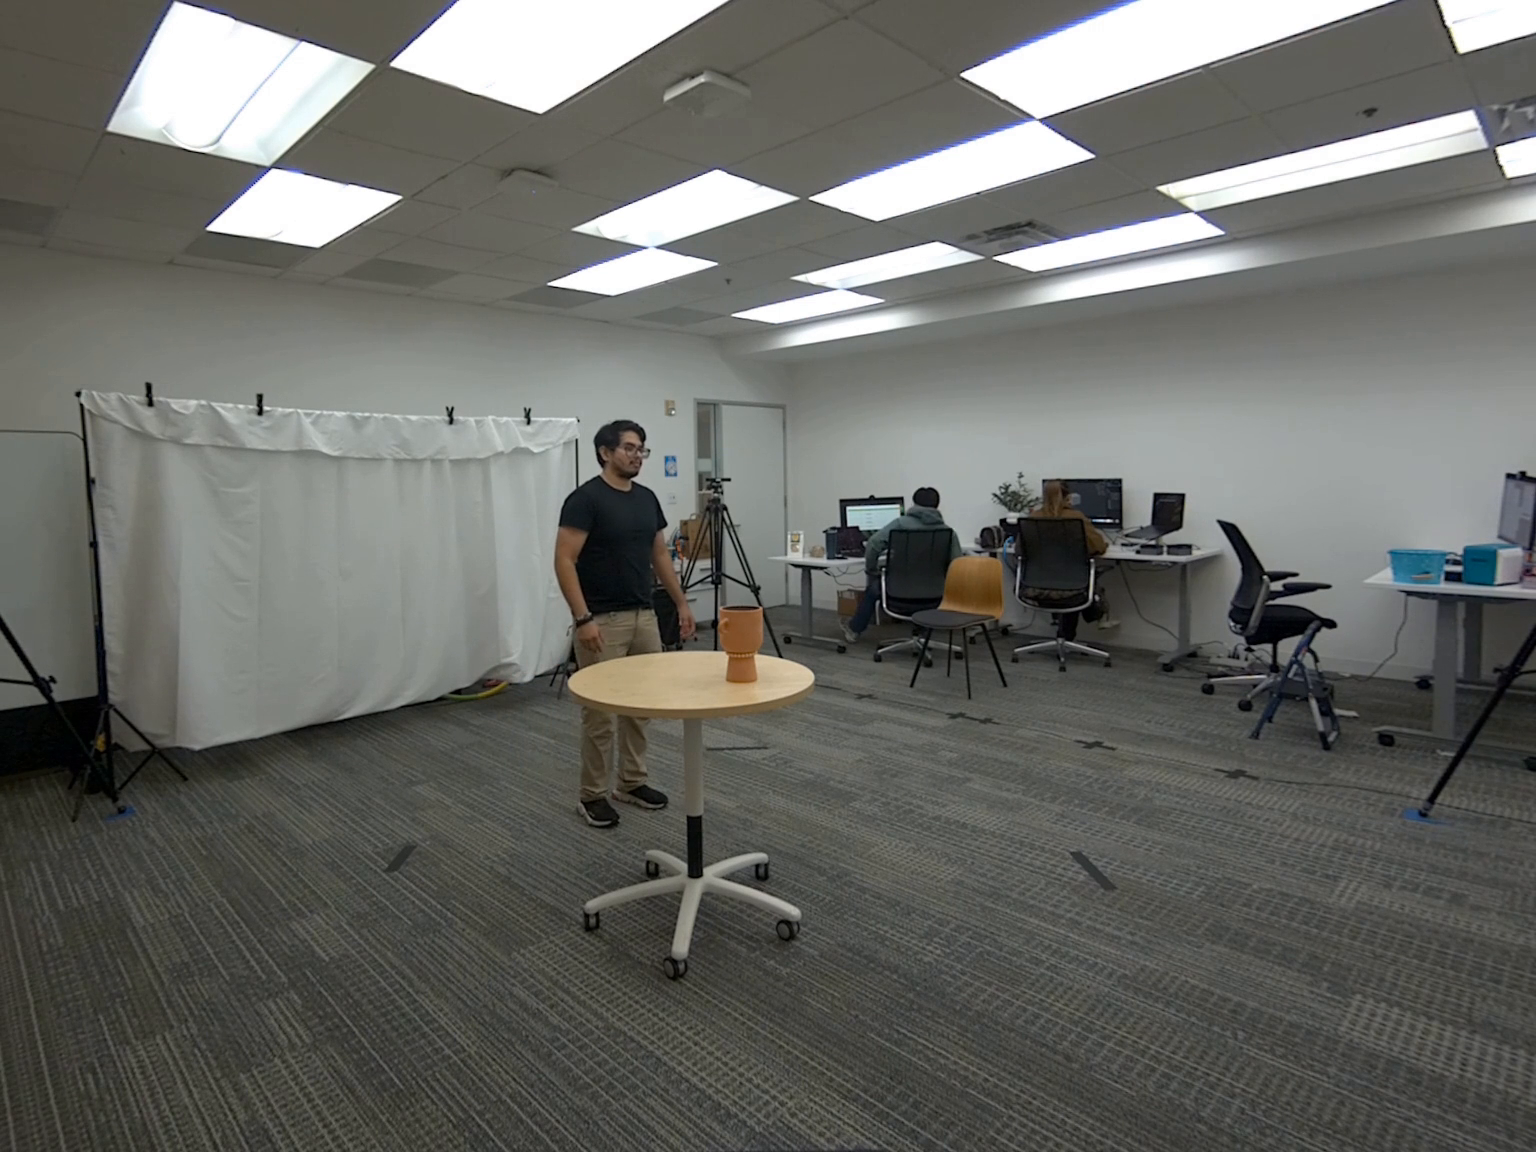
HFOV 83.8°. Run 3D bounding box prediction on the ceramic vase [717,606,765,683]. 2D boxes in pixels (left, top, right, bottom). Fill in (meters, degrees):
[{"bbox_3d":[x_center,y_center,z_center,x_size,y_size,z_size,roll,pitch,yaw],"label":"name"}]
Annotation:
[{"bbox_3d":[-0.071,0.204,2.616,0.157,0.219,0.136,-1,4,-10],"label":"ceramic vase"}]
